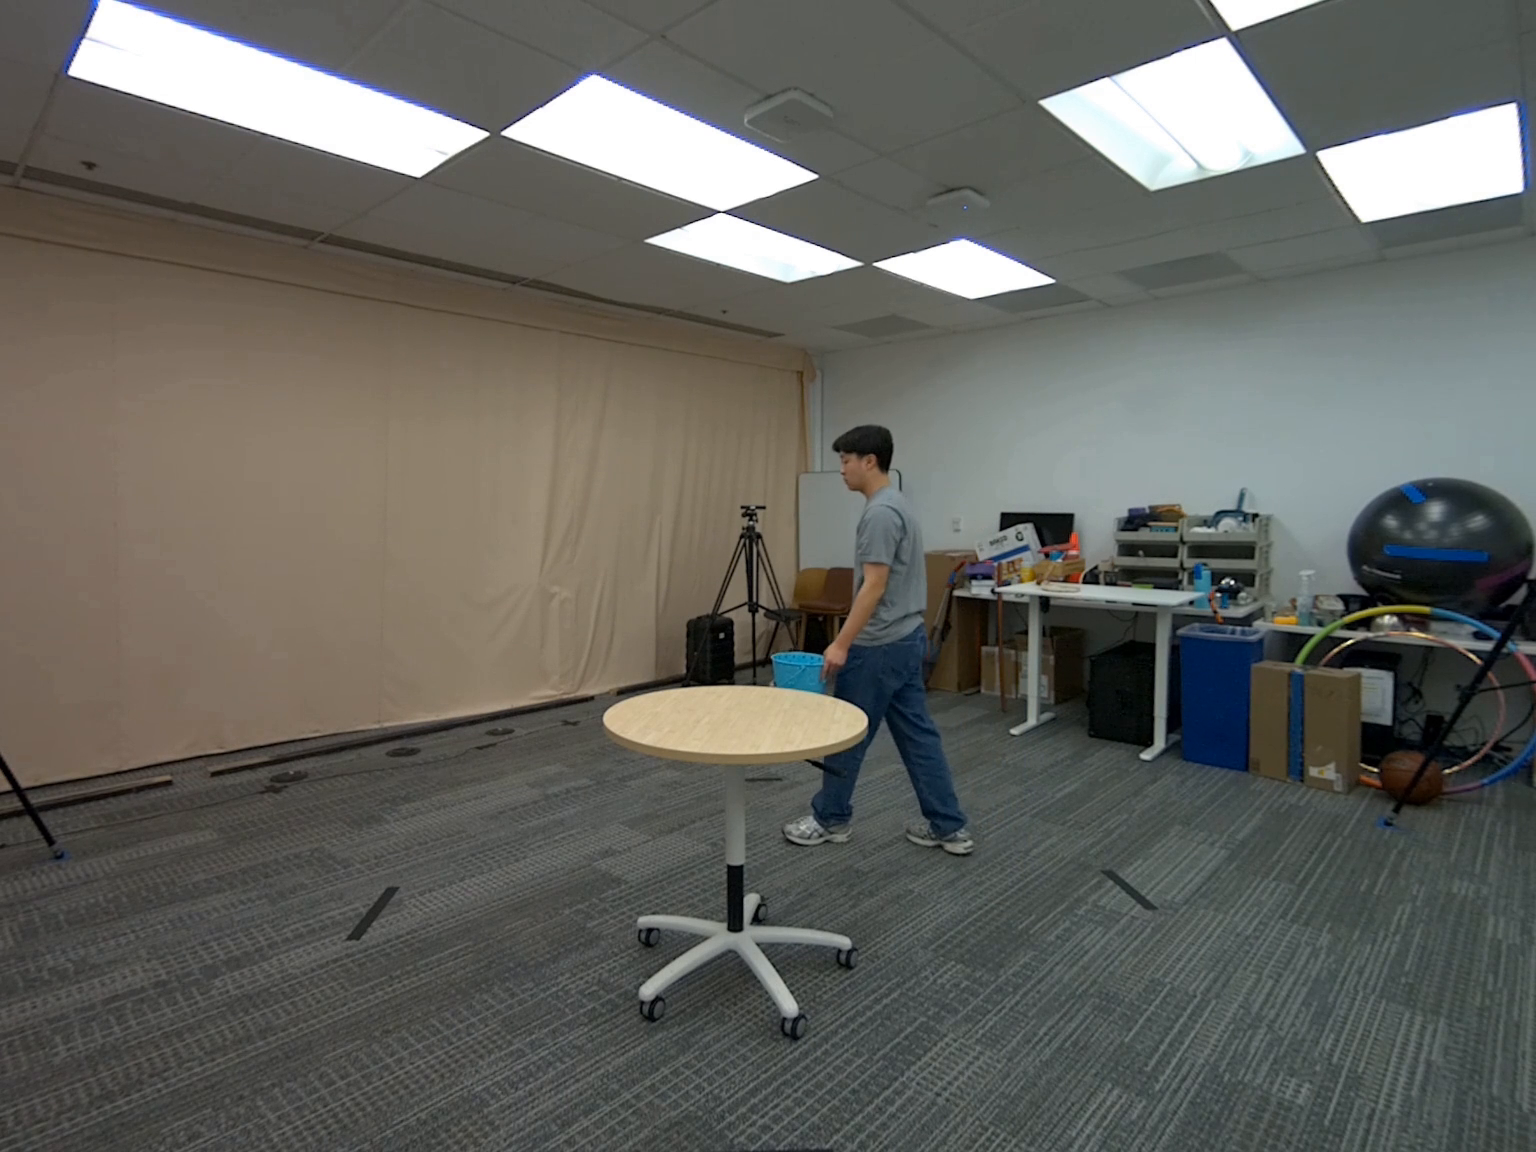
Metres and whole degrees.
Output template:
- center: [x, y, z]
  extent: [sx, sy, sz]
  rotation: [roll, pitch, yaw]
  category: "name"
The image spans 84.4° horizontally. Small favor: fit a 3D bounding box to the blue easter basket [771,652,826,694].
- center: [0.134, 0.392, 3.310]
  extent: [0.243, 0.155, 0.244]
  rotation: [3, 4, -2]
  category: "blue easter basket"
